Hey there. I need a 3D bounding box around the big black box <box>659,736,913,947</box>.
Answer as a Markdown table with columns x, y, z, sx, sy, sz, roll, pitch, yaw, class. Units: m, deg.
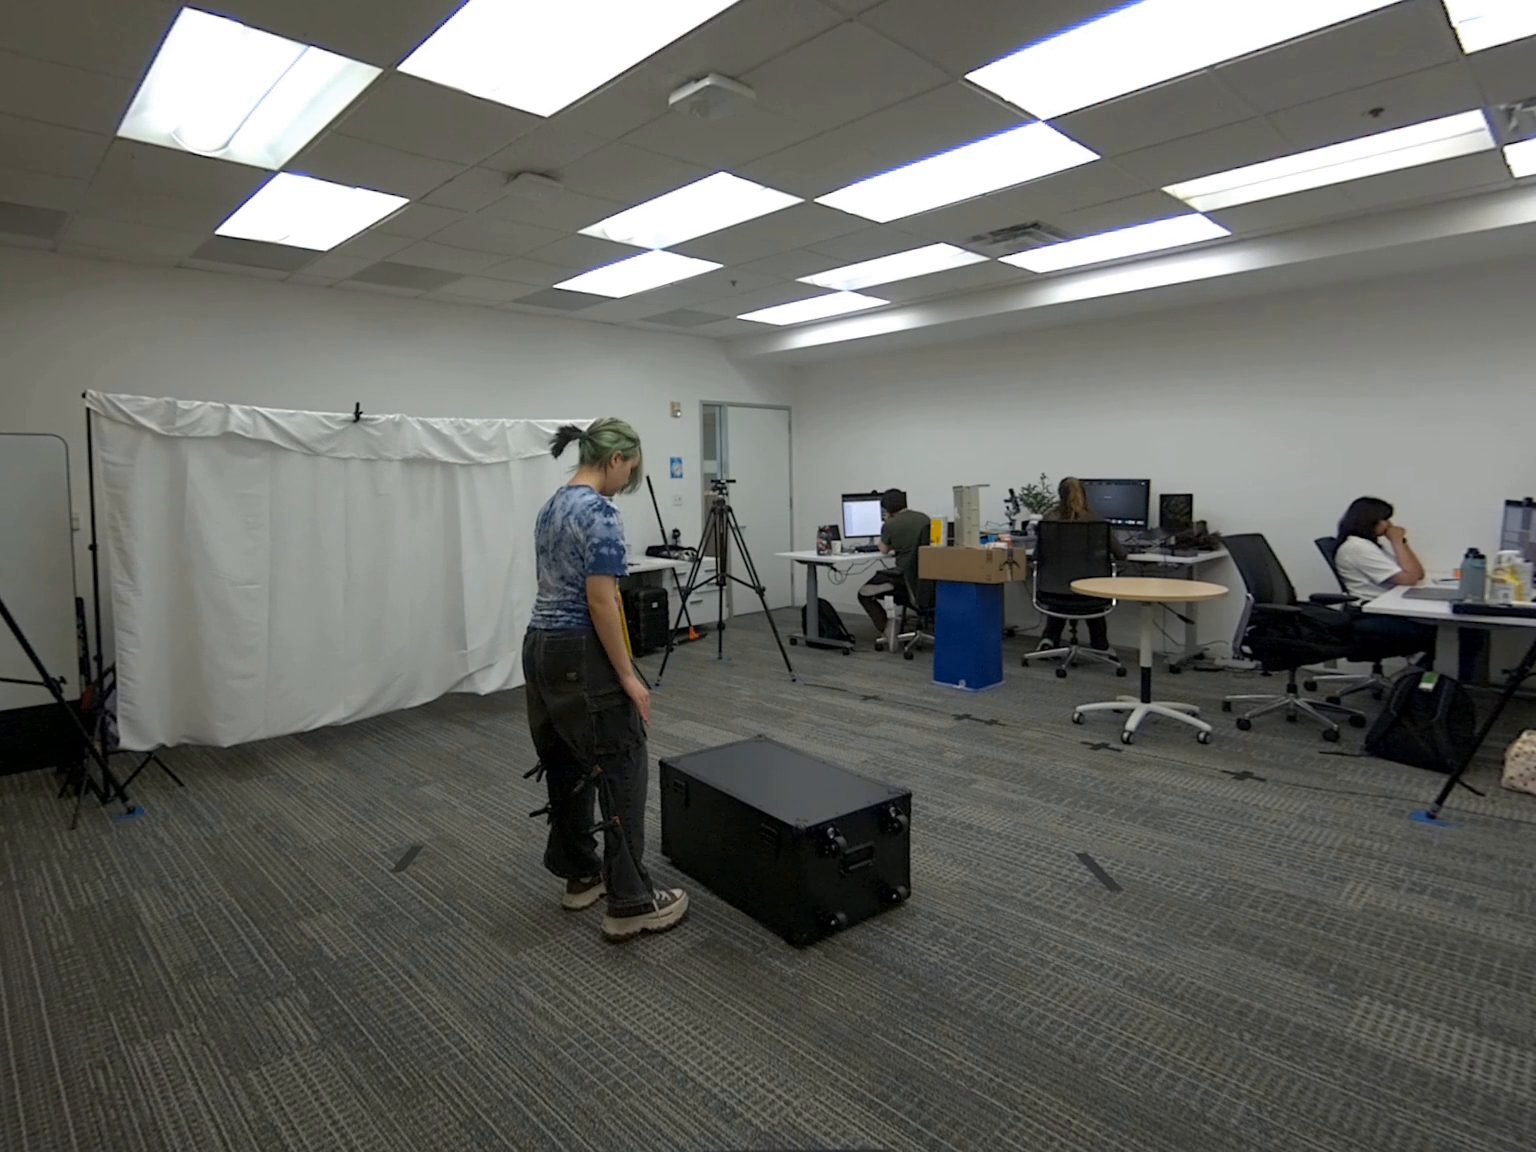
| x | y | z | sx | sy | sz | roll | pitch | yaw | class |
| --- | --- | --- | --- | --- | --- | --- | --- | --- | --- |
| 0.057 | 0.875 | 2.933 | 0.508 | 0.395 | 0.887 | -6 | 7 | -38 | big black box |
